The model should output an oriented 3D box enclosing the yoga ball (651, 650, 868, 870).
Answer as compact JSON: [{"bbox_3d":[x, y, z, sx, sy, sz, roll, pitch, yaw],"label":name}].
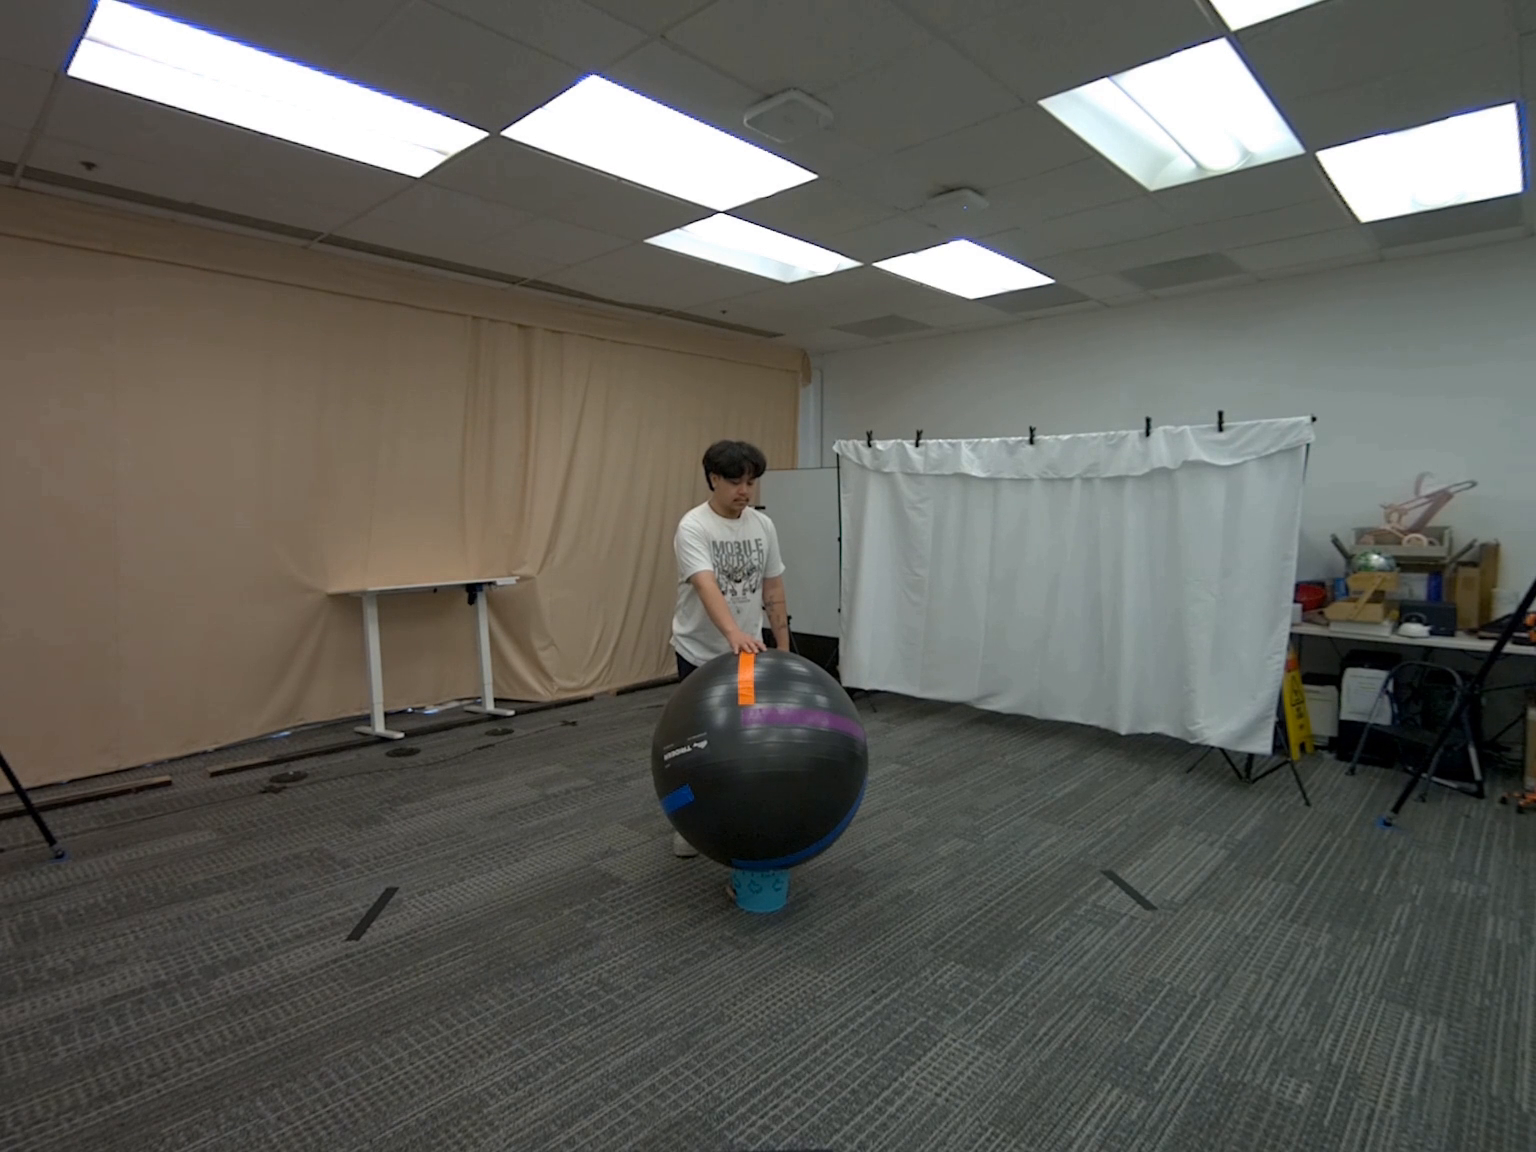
[{"bbox_3d":[-0.033,0.639,2.948,0.757,0.756,0.761,0,4,-2],"label":"yoga ball"}]
